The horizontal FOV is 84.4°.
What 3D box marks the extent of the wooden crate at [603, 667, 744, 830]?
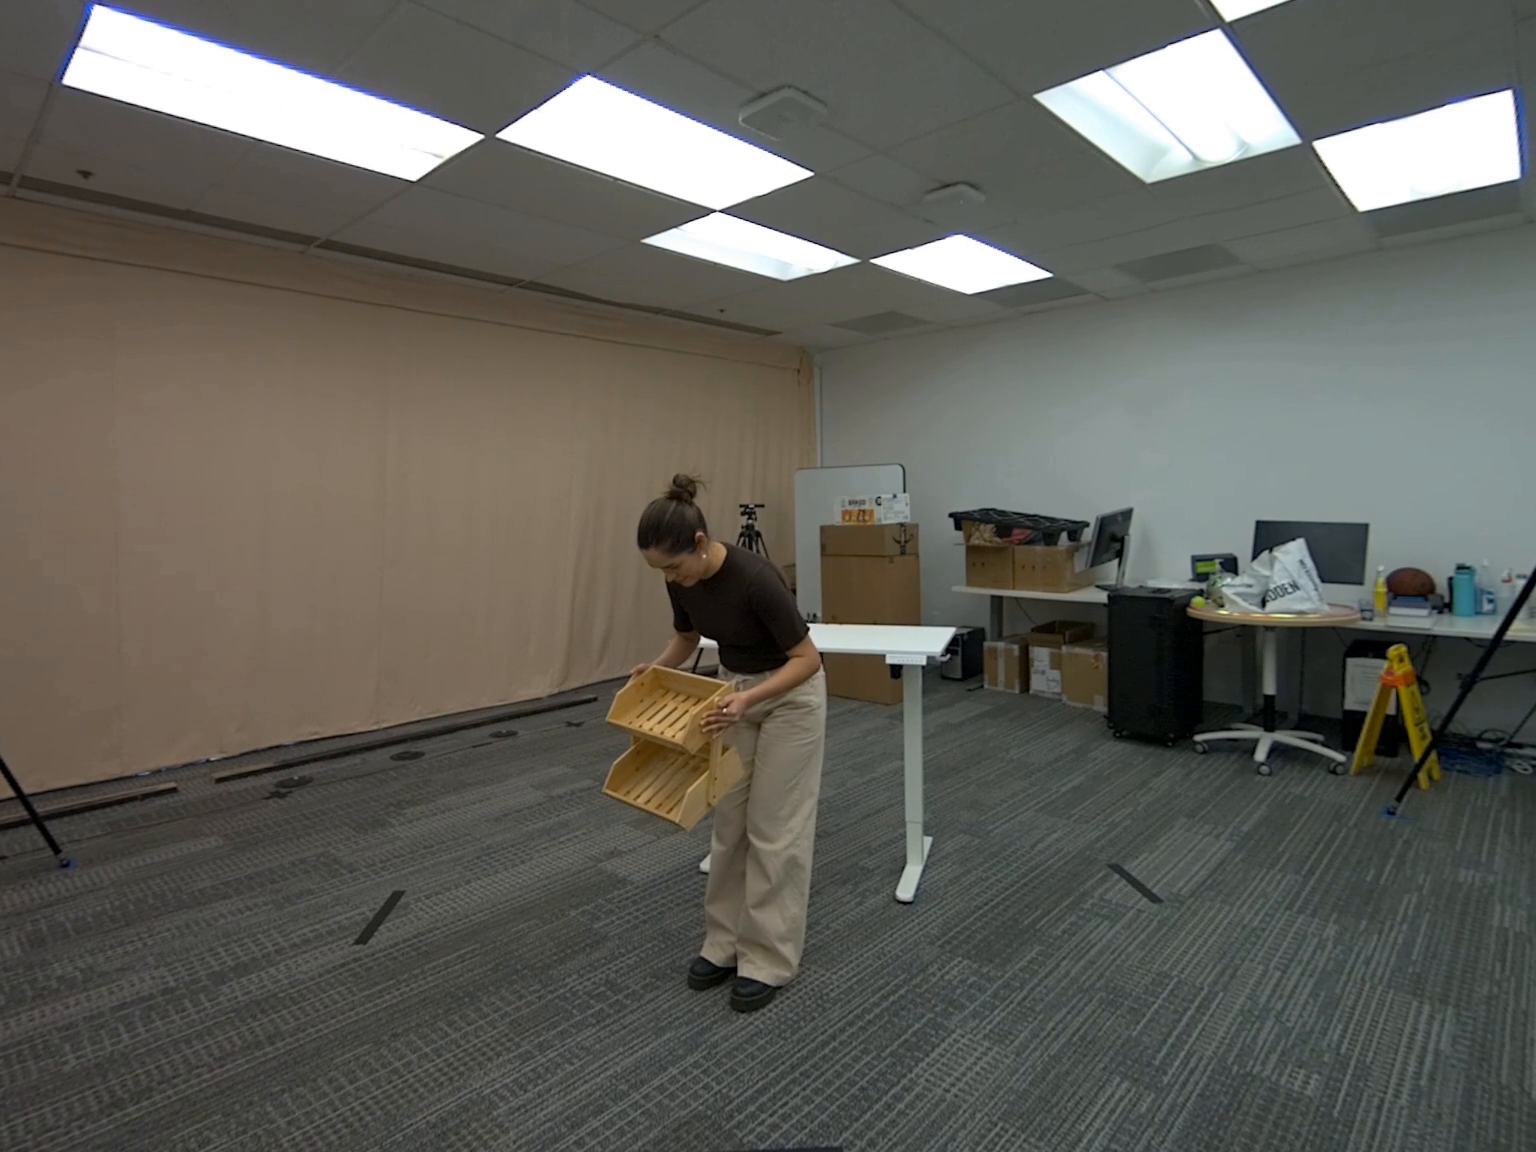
[{"bbox_3d":[-0.271,0.445,2.229,0.335,0.268,0.298,5,32,39],"label":"wooden crate"}]
